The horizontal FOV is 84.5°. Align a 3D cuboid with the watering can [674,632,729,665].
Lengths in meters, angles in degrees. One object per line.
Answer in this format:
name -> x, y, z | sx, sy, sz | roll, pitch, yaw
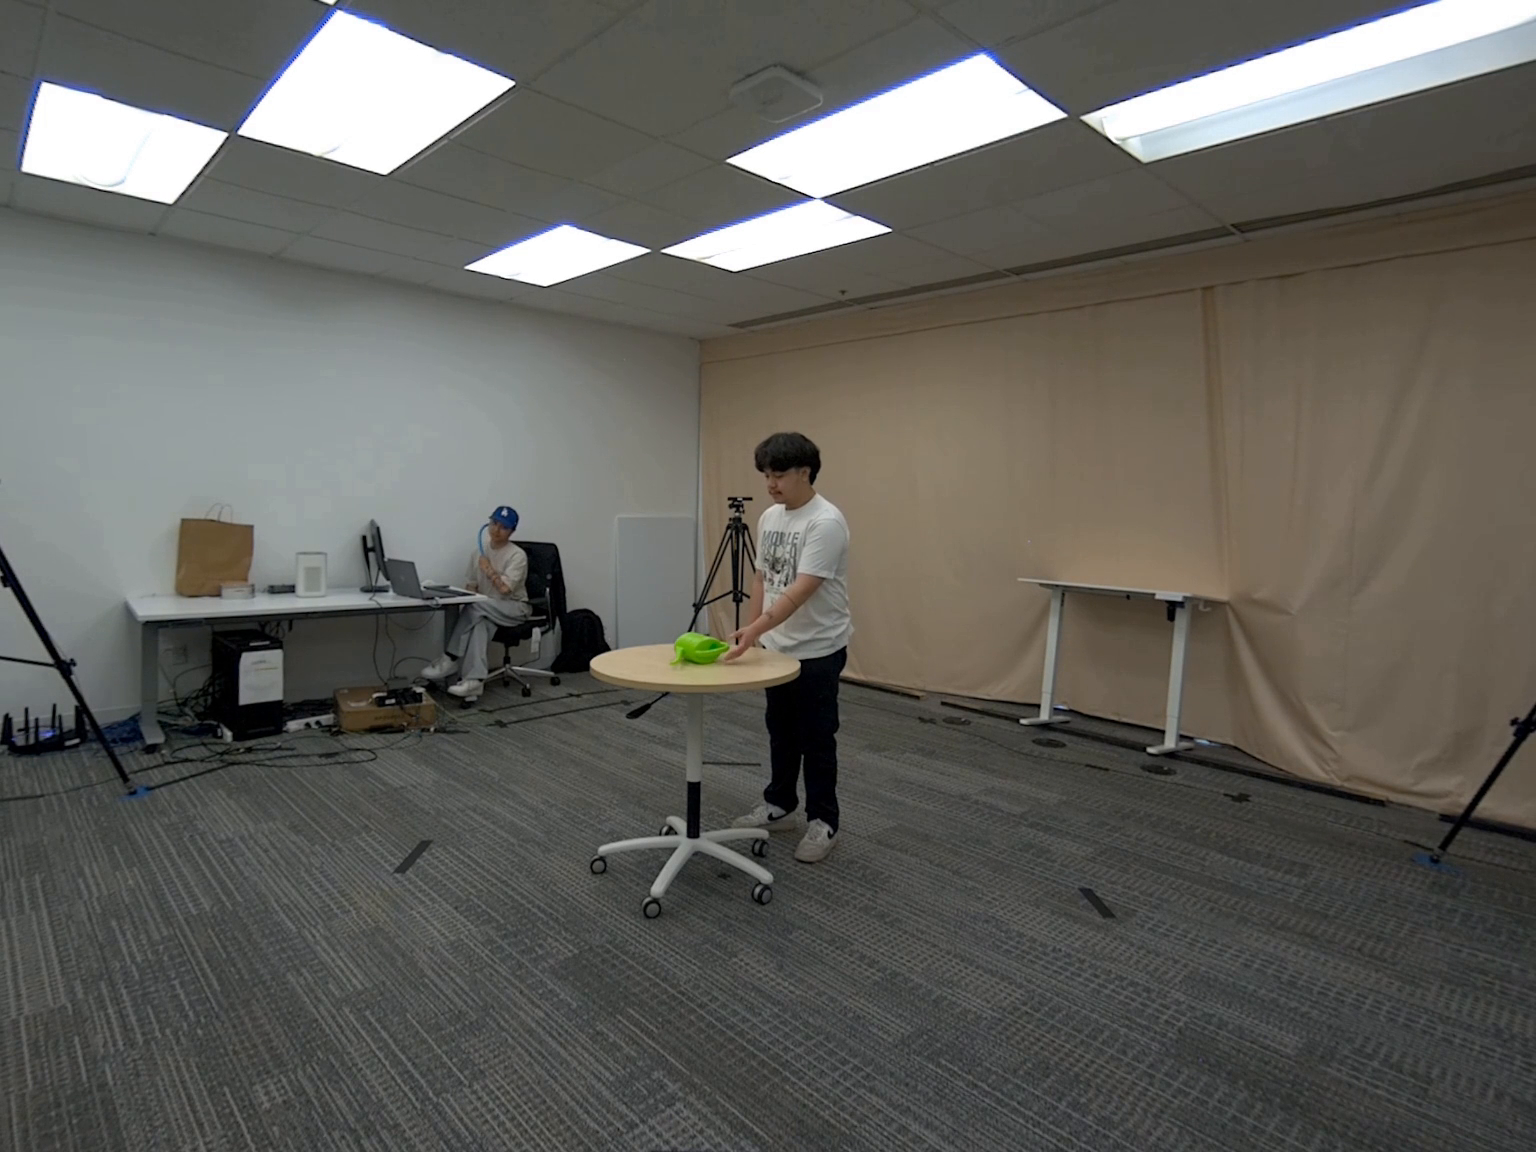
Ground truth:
watering can -> -0.285, 0.265, 3.043 | 0.271, 0.098, 0.181 | 3, 2, -39
